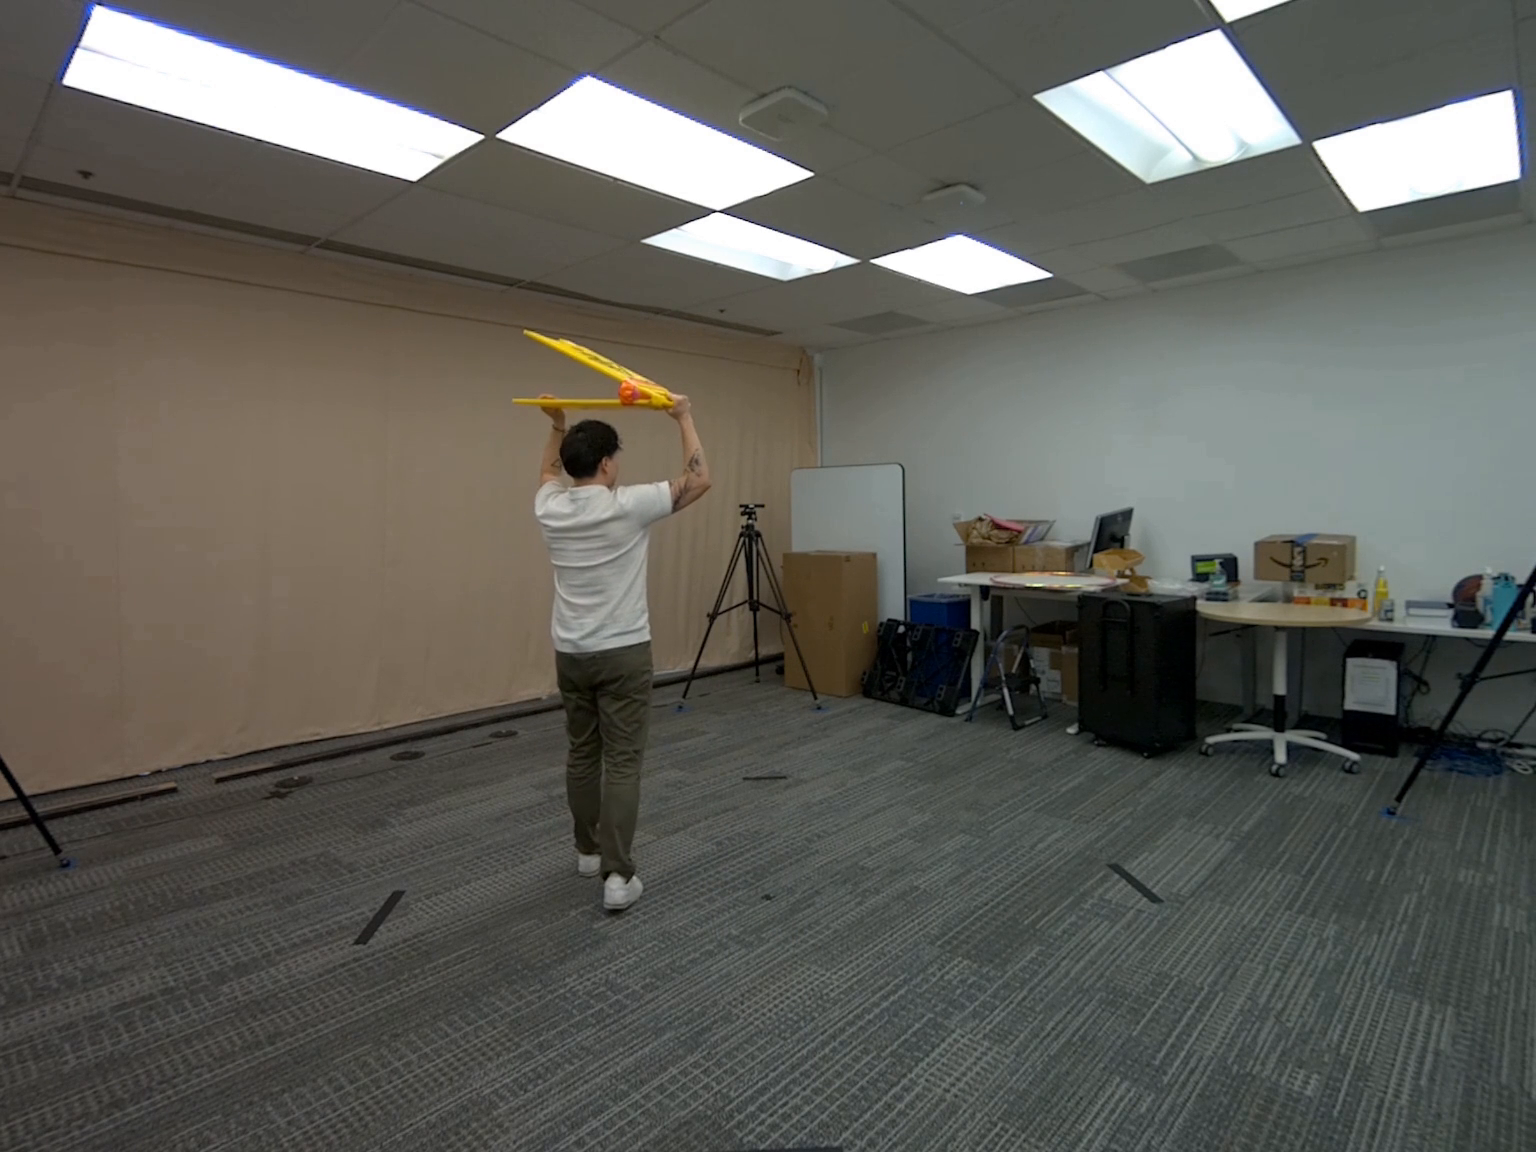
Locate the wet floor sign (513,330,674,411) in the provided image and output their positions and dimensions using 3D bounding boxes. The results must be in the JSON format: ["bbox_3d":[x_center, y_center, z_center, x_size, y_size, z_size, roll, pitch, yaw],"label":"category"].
[{"bbox_3d":[-0.611,-0.707,3.146,0.665,0.288,0.275,19,13,26],"label":"wet floor sign"}]
